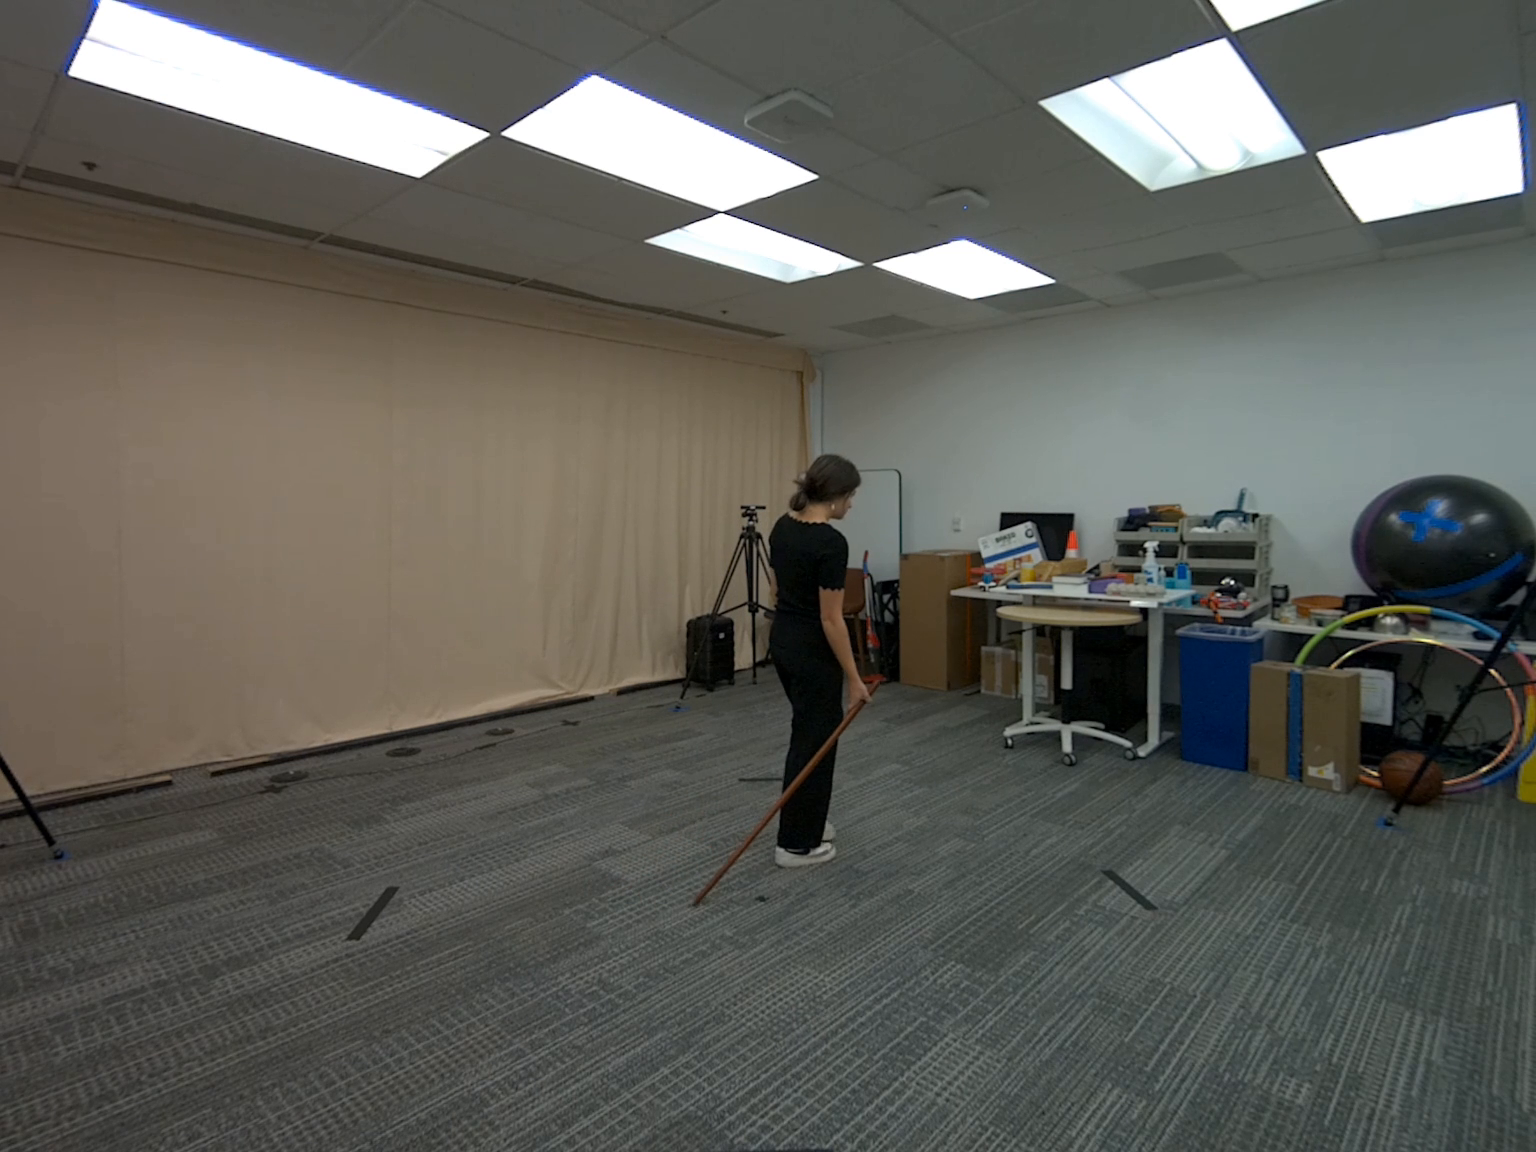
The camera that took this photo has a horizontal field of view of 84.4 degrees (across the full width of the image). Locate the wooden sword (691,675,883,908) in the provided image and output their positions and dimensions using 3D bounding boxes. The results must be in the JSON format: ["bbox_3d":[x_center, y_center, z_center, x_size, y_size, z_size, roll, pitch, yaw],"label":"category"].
[{"bbox_3d":[0.074,0.774,3.027,0.025,1.022,0.049,30,-15,51],"label":"wooden sword"}]
